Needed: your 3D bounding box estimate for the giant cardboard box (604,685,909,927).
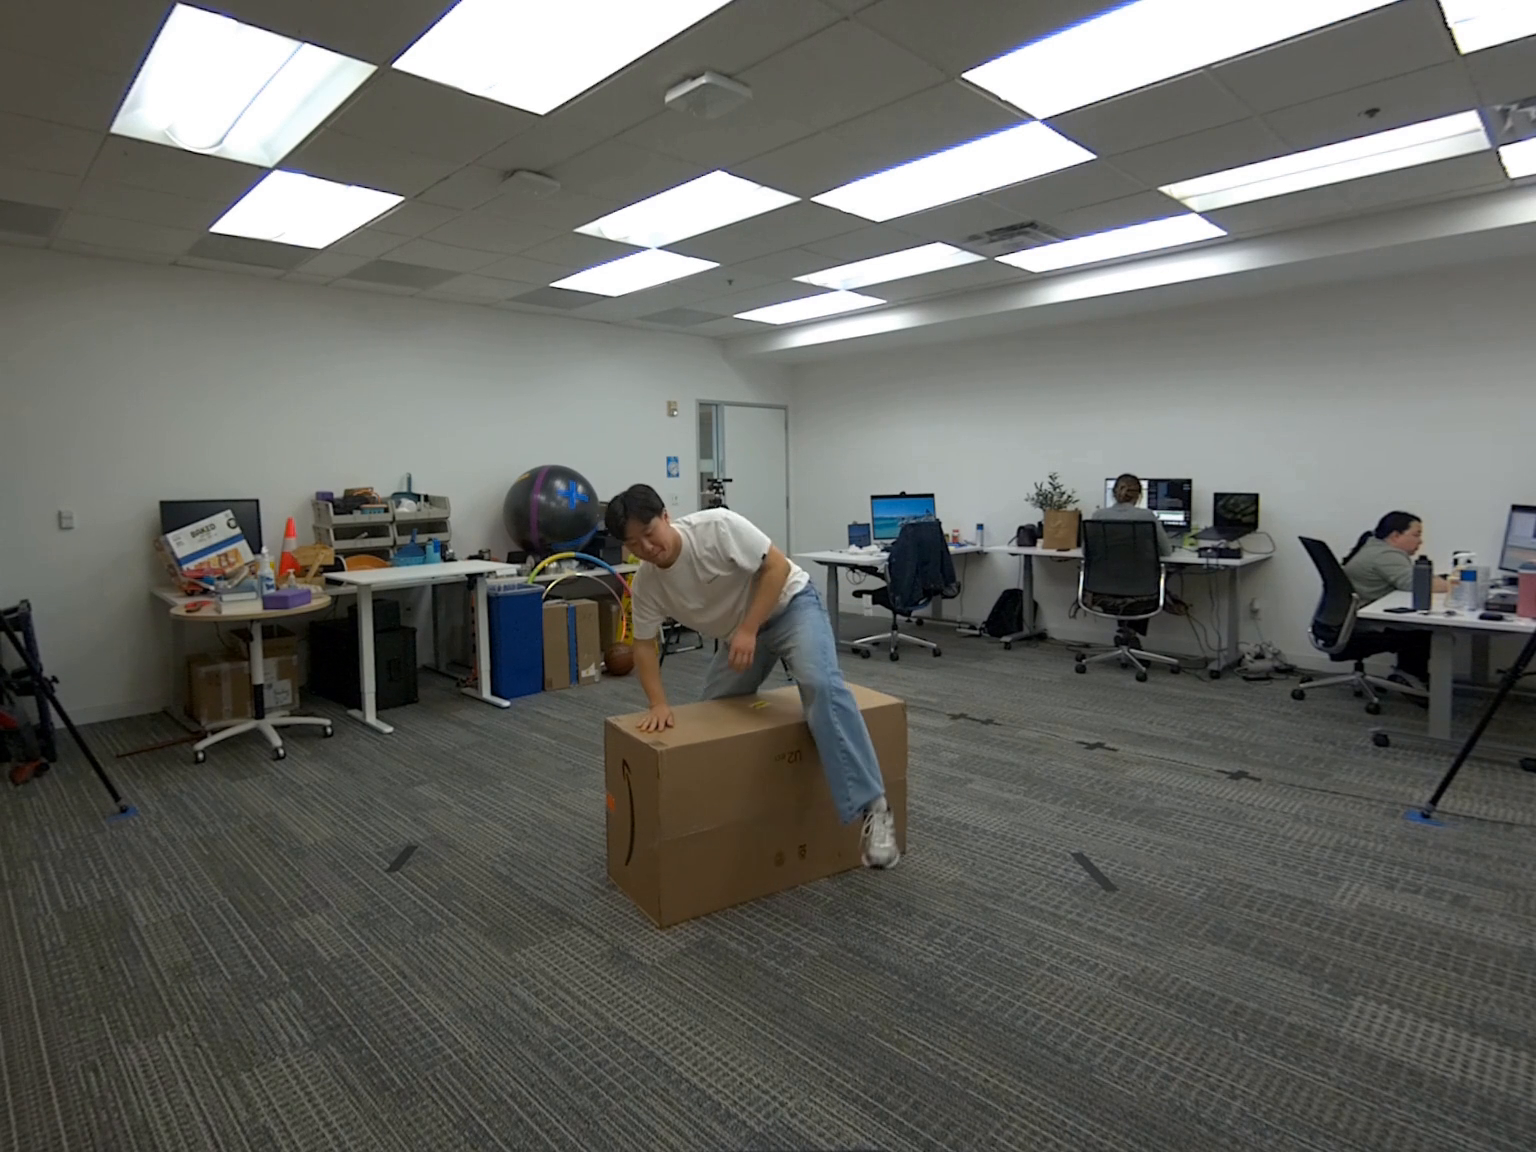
[{"bbox_3d":[-0.029,0.762,3.076,1.001,0.575,0.438,-4,6,-31],"label":"giant cardboard box"}]
